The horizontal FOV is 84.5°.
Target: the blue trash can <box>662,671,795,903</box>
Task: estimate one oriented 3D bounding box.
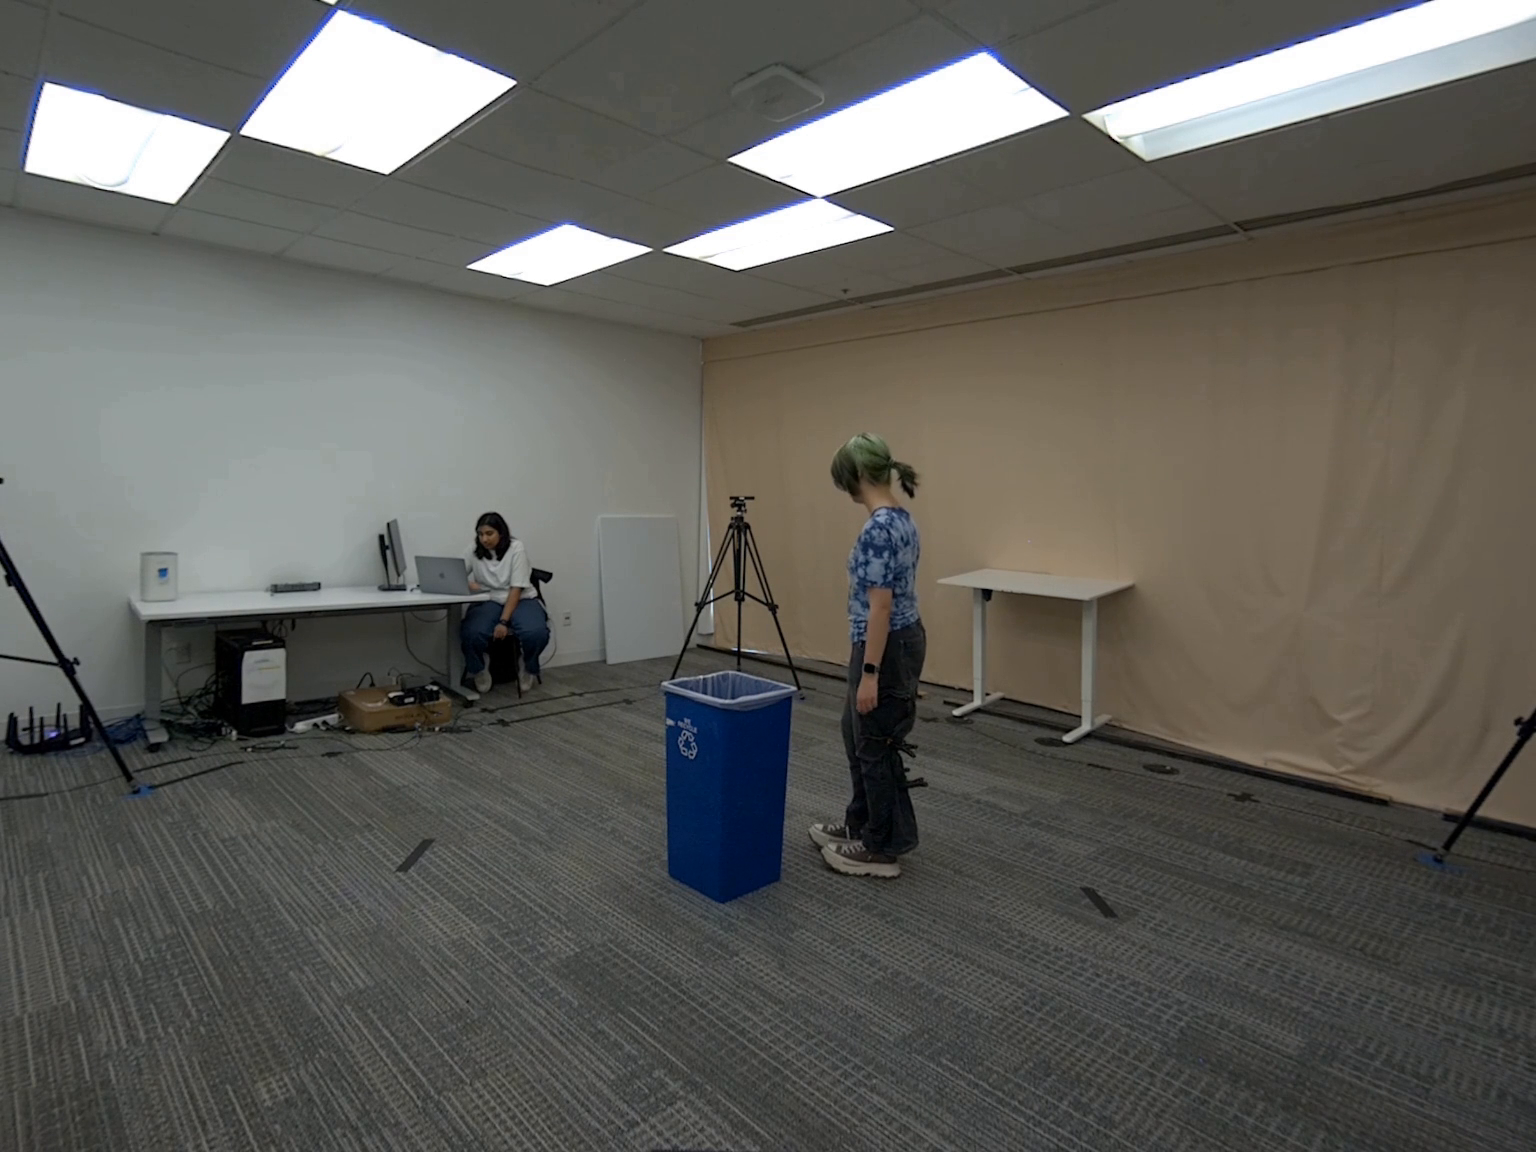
[{"bbox_3d":[-0.154,0.751,3.062,0.369,0.712,0.383,-2,5,-44],"label":"blue trash can"}]
